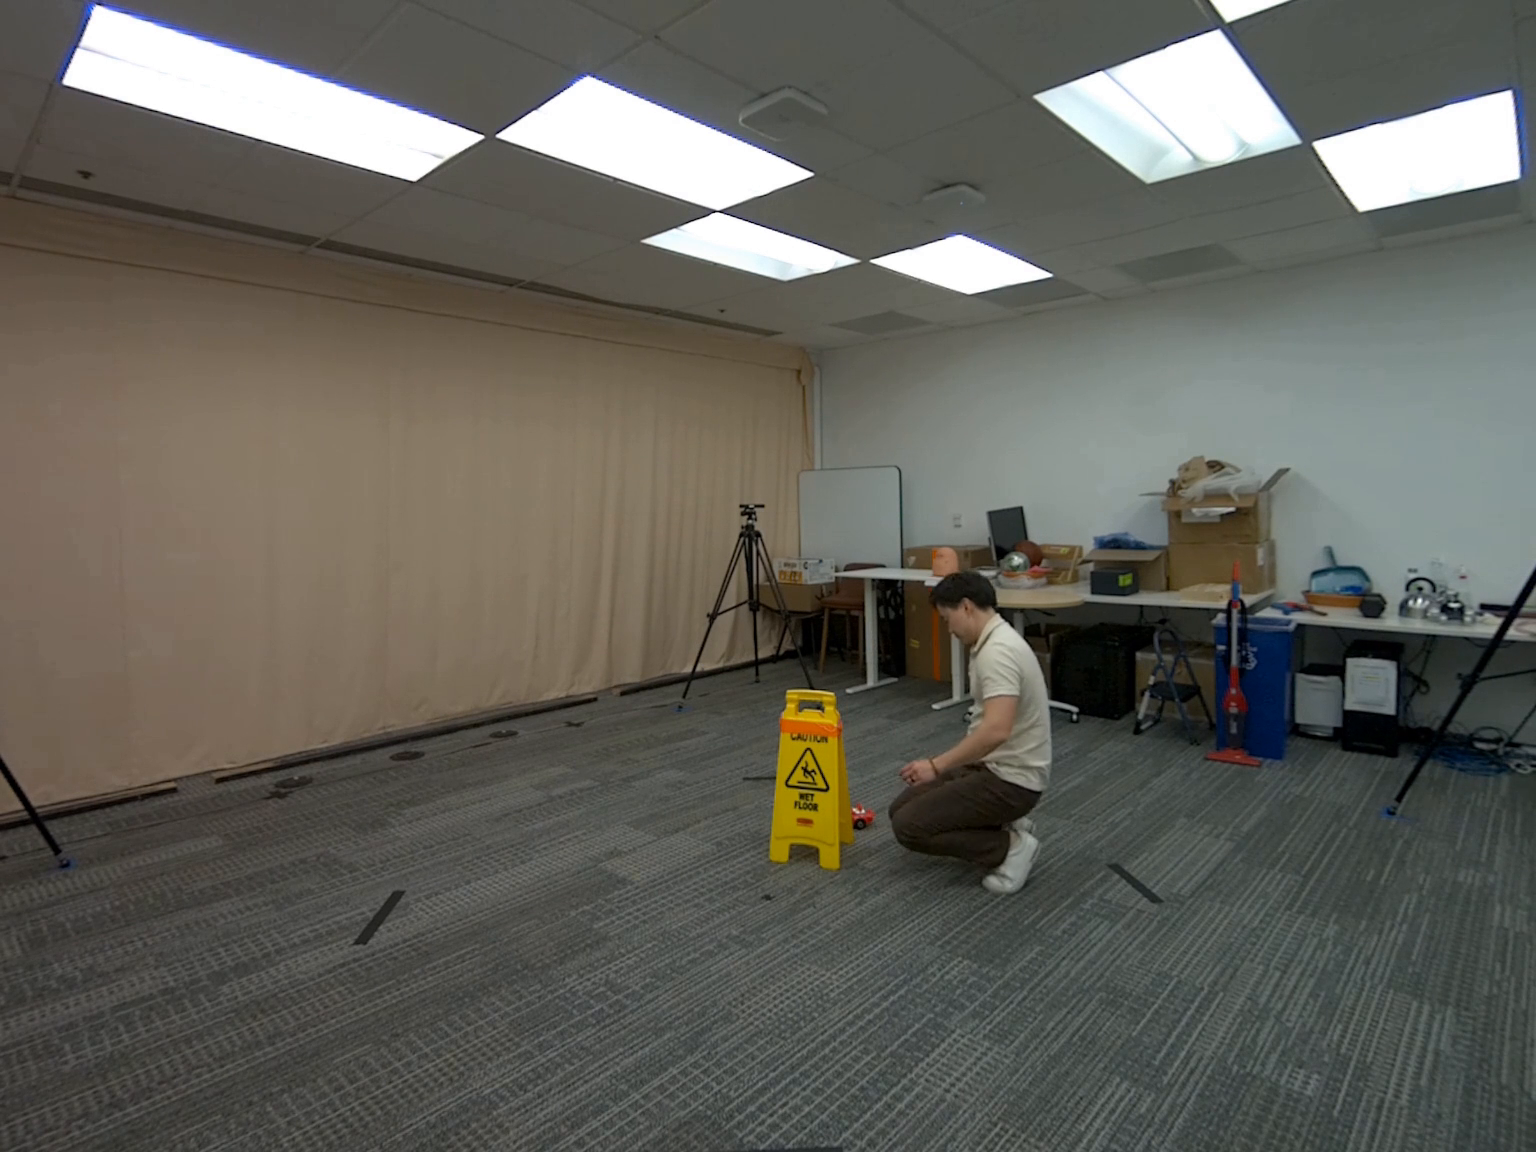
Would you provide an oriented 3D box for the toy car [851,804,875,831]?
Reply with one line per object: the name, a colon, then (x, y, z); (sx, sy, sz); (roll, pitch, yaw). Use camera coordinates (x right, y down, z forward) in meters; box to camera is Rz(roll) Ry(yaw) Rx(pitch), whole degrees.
toy car: (0.340, 1.047, 3.639); (0.253, 0.083, 0.131); (-13, 5, -5)
